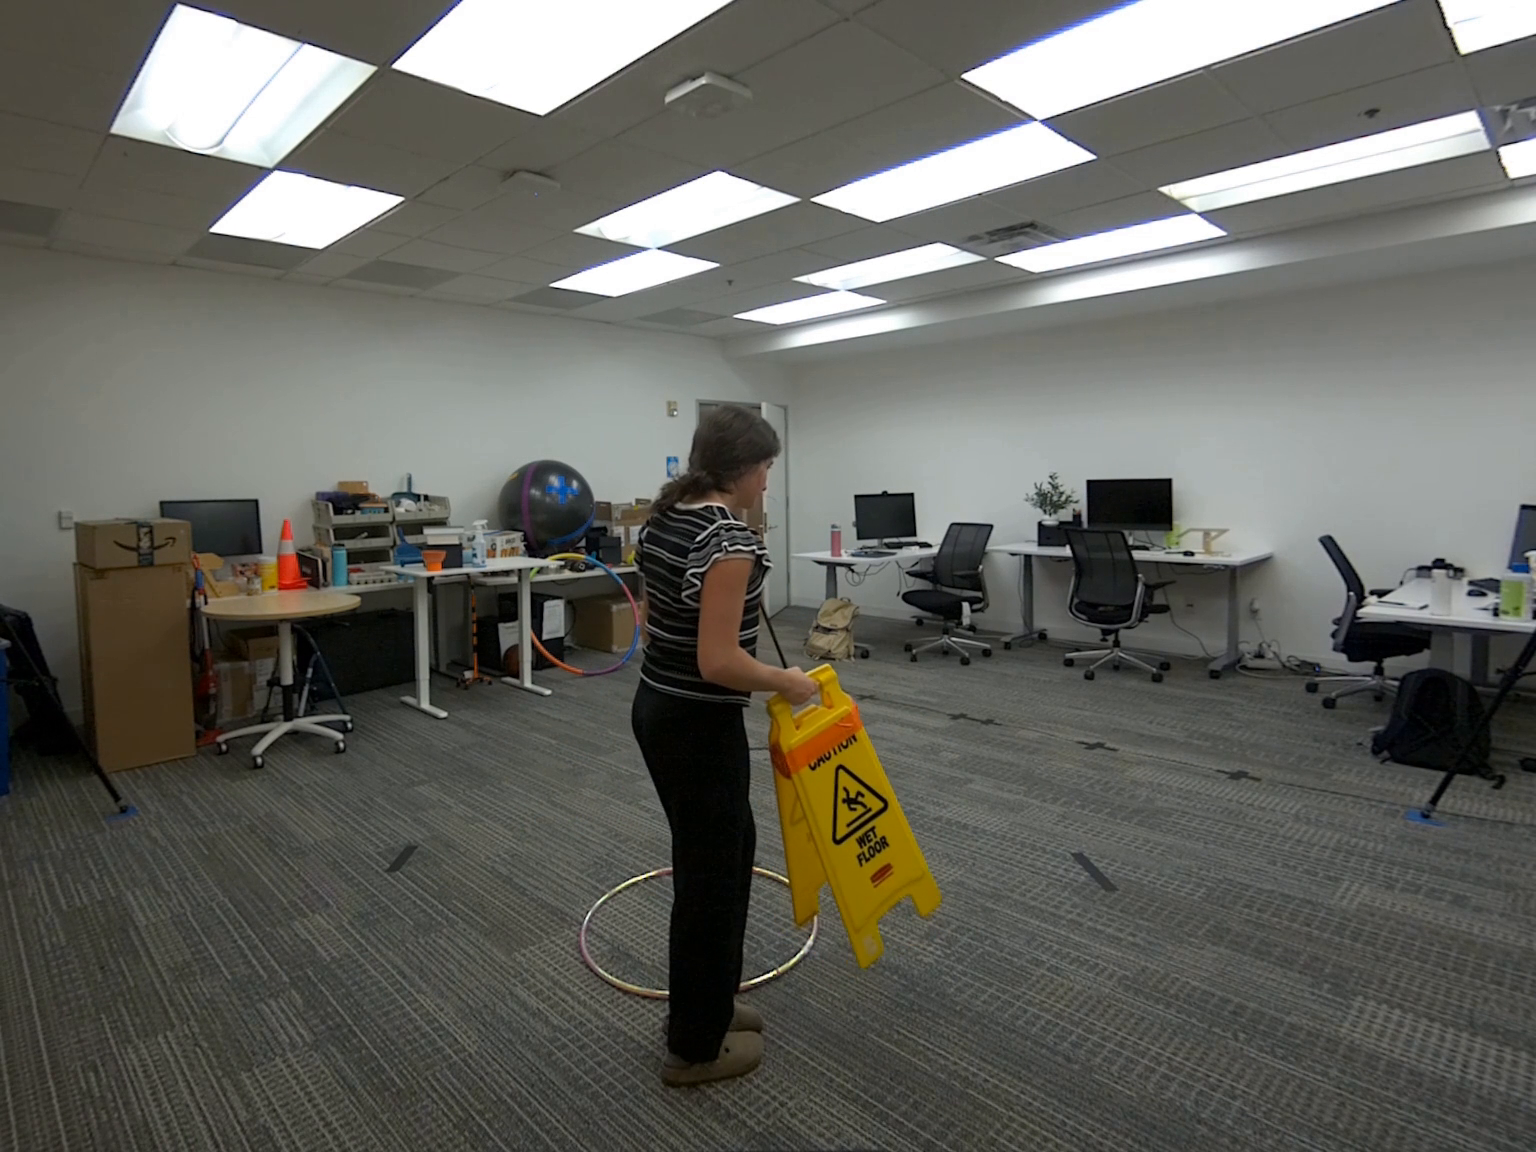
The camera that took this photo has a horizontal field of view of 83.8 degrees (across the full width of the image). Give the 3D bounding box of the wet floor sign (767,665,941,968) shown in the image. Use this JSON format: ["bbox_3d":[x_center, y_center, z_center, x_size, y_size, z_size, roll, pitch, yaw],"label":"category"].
[{"bbox_3d":[0.161,0.543,2.058,0.278,0.637,0.298,-24,14,-32],"label":"wet floor sign"}]
